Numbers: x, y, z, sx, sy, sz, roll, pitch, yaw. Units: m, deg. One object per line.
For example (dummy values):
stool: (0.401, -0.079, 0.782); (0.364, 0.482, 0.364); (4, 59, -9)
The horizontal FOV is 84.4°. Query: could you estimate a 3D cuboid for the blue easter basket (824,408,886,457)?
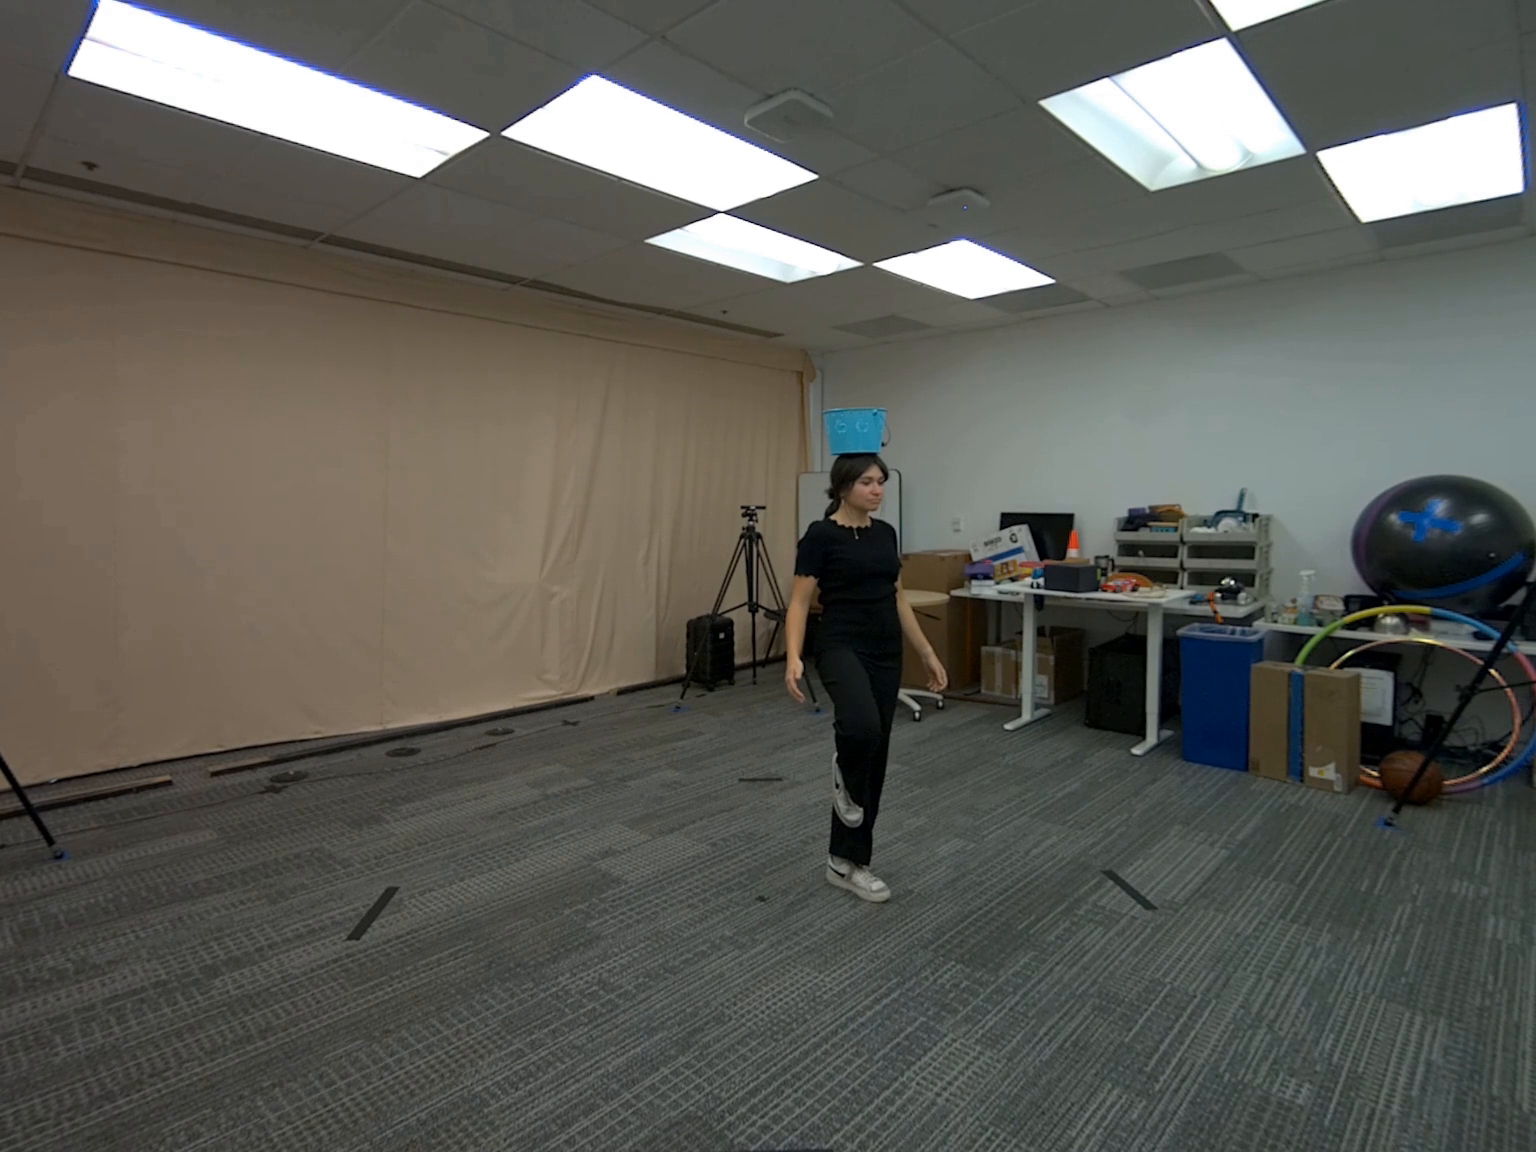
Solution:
blue easter basket: (0.326, -0.520, 3.039); (0.243, 0.155, 0.244); (0, 5, -2)
